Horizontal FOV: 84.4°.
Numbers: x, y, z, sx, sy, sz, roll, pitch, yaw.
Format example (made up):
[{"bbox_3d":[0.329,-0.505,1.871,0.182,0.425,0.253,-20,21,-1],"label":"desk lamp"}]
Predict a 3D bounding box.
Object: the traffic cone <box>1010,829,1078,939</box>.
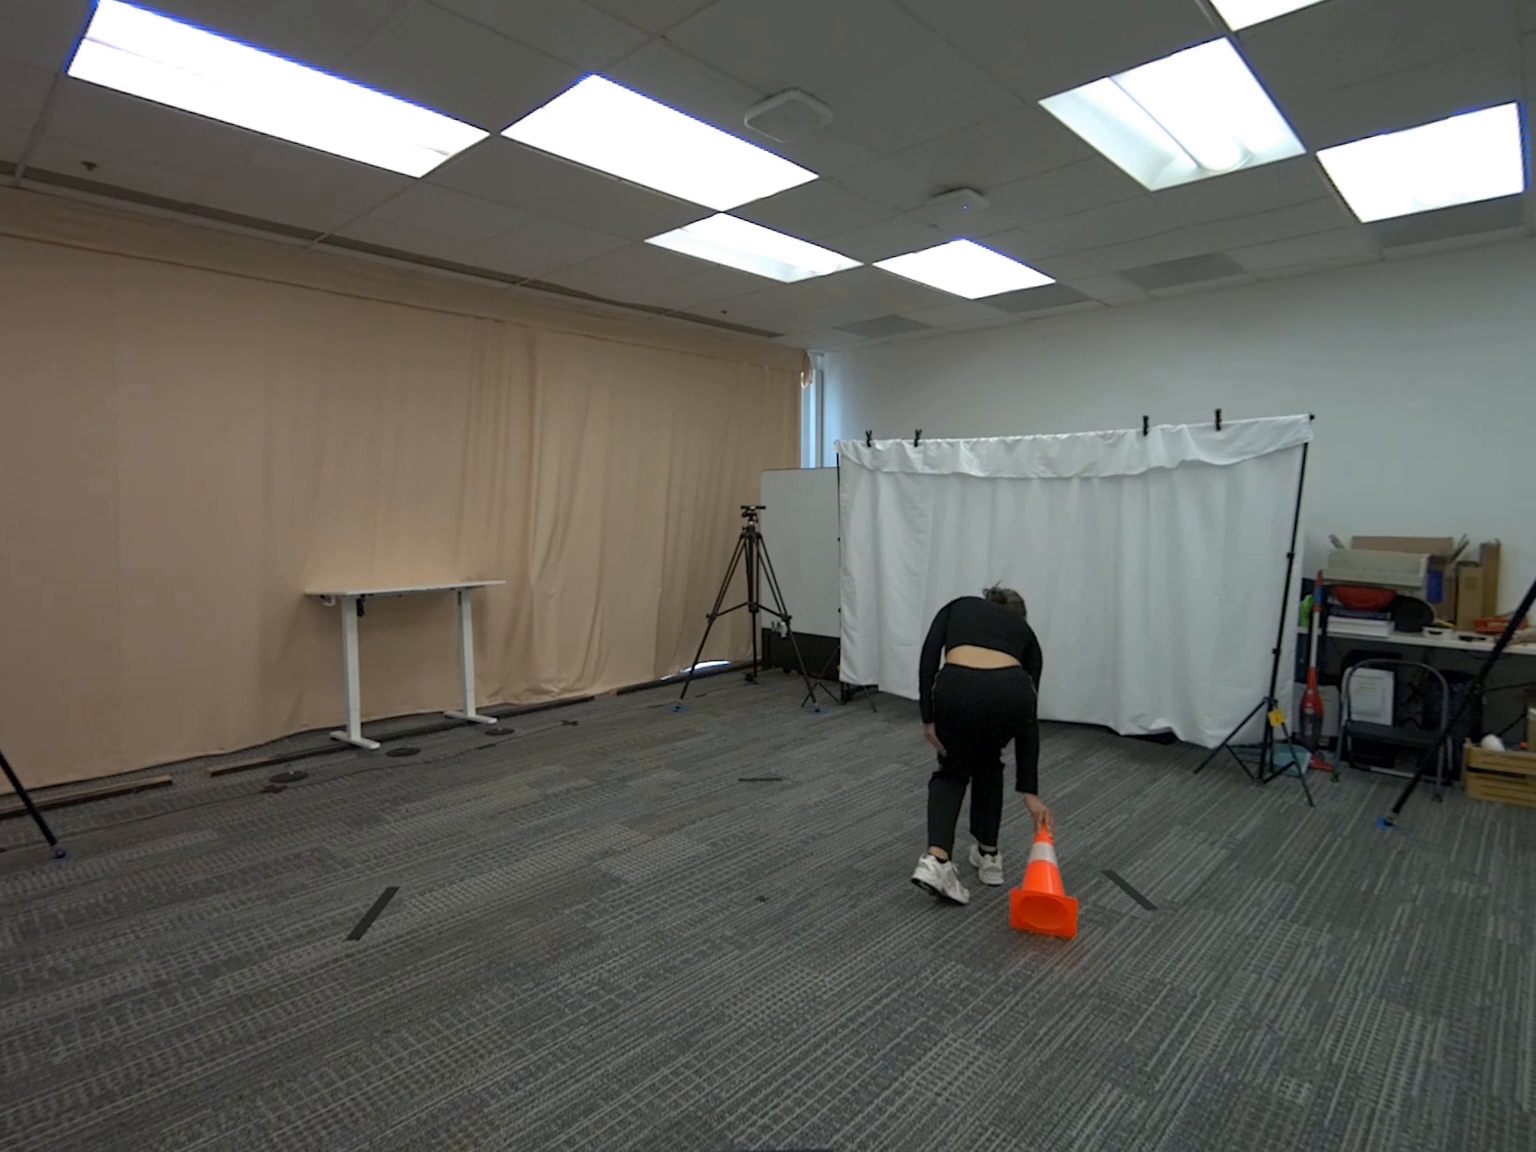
[{"bbox_3d":[0.937,0.976,2.836,0.209,0.199,0.384,0,34,20],"label":"traffic cone"}]
